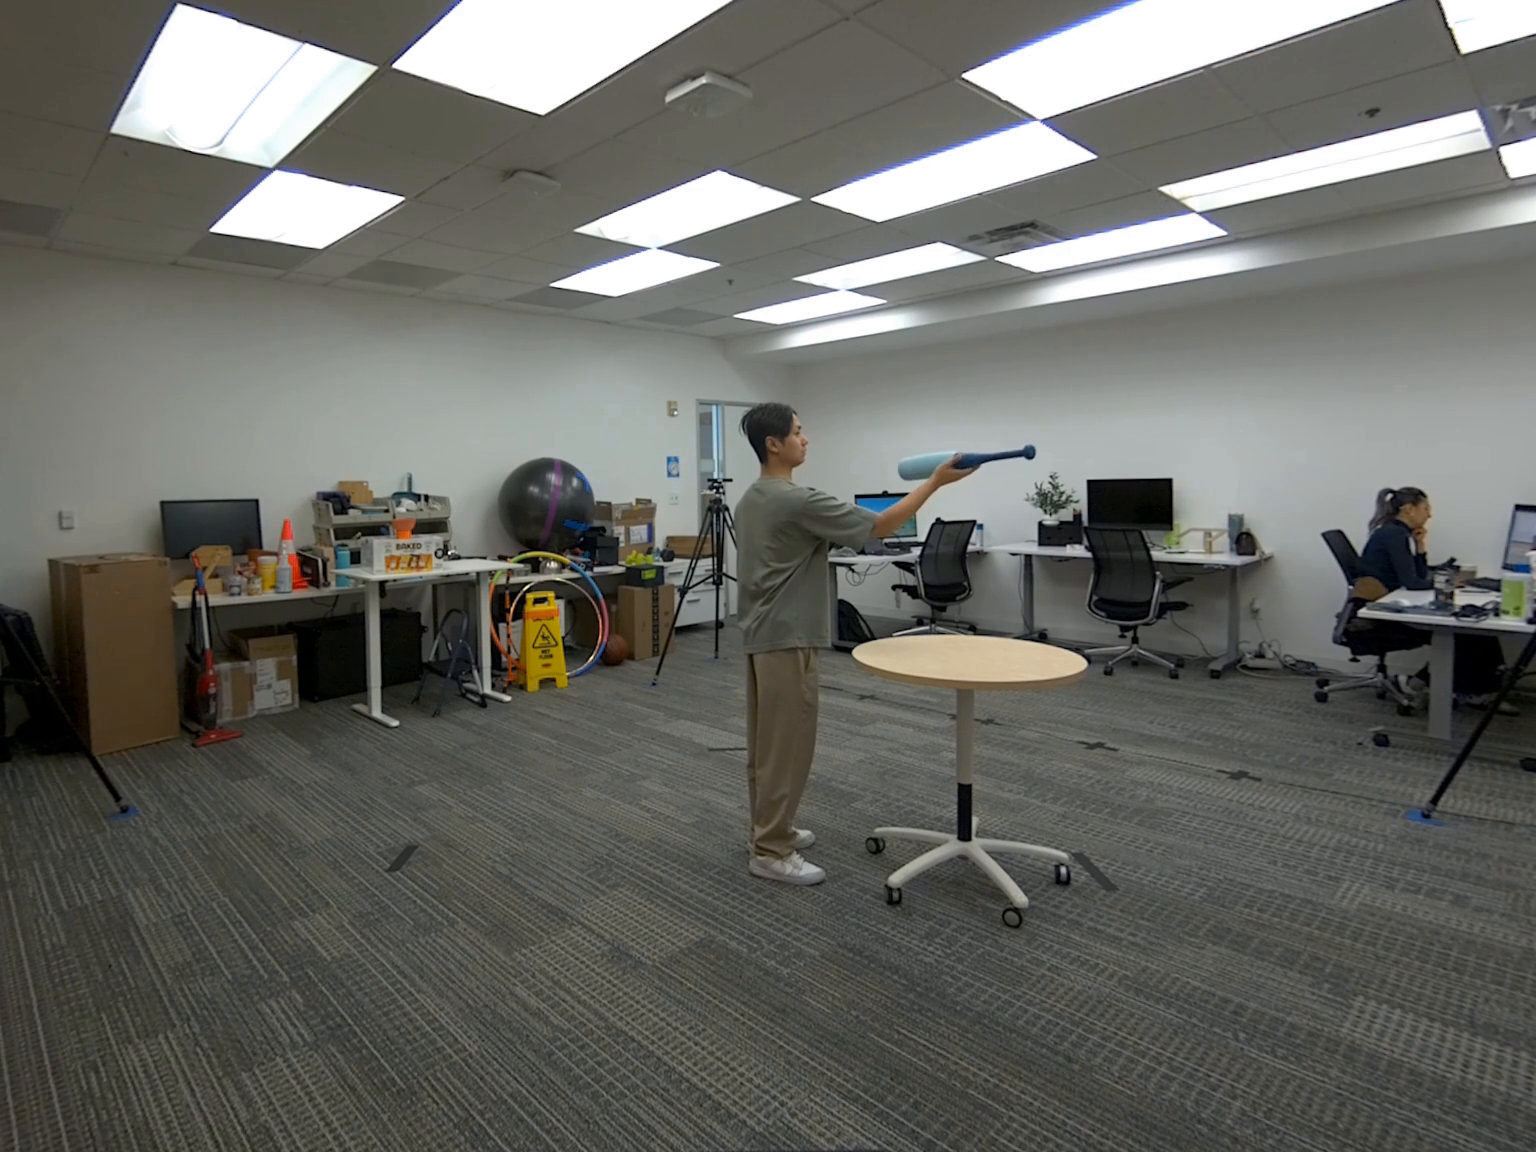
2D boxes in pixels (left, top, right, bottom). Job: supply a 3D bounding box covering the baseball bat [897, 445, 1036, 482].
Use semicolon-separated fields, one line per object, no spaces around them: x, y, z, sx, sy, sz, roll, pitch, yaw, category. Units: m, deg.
0.681;-0.380;2.958;0.087;0.089;0.558;-5;3;-38;baseball bat
